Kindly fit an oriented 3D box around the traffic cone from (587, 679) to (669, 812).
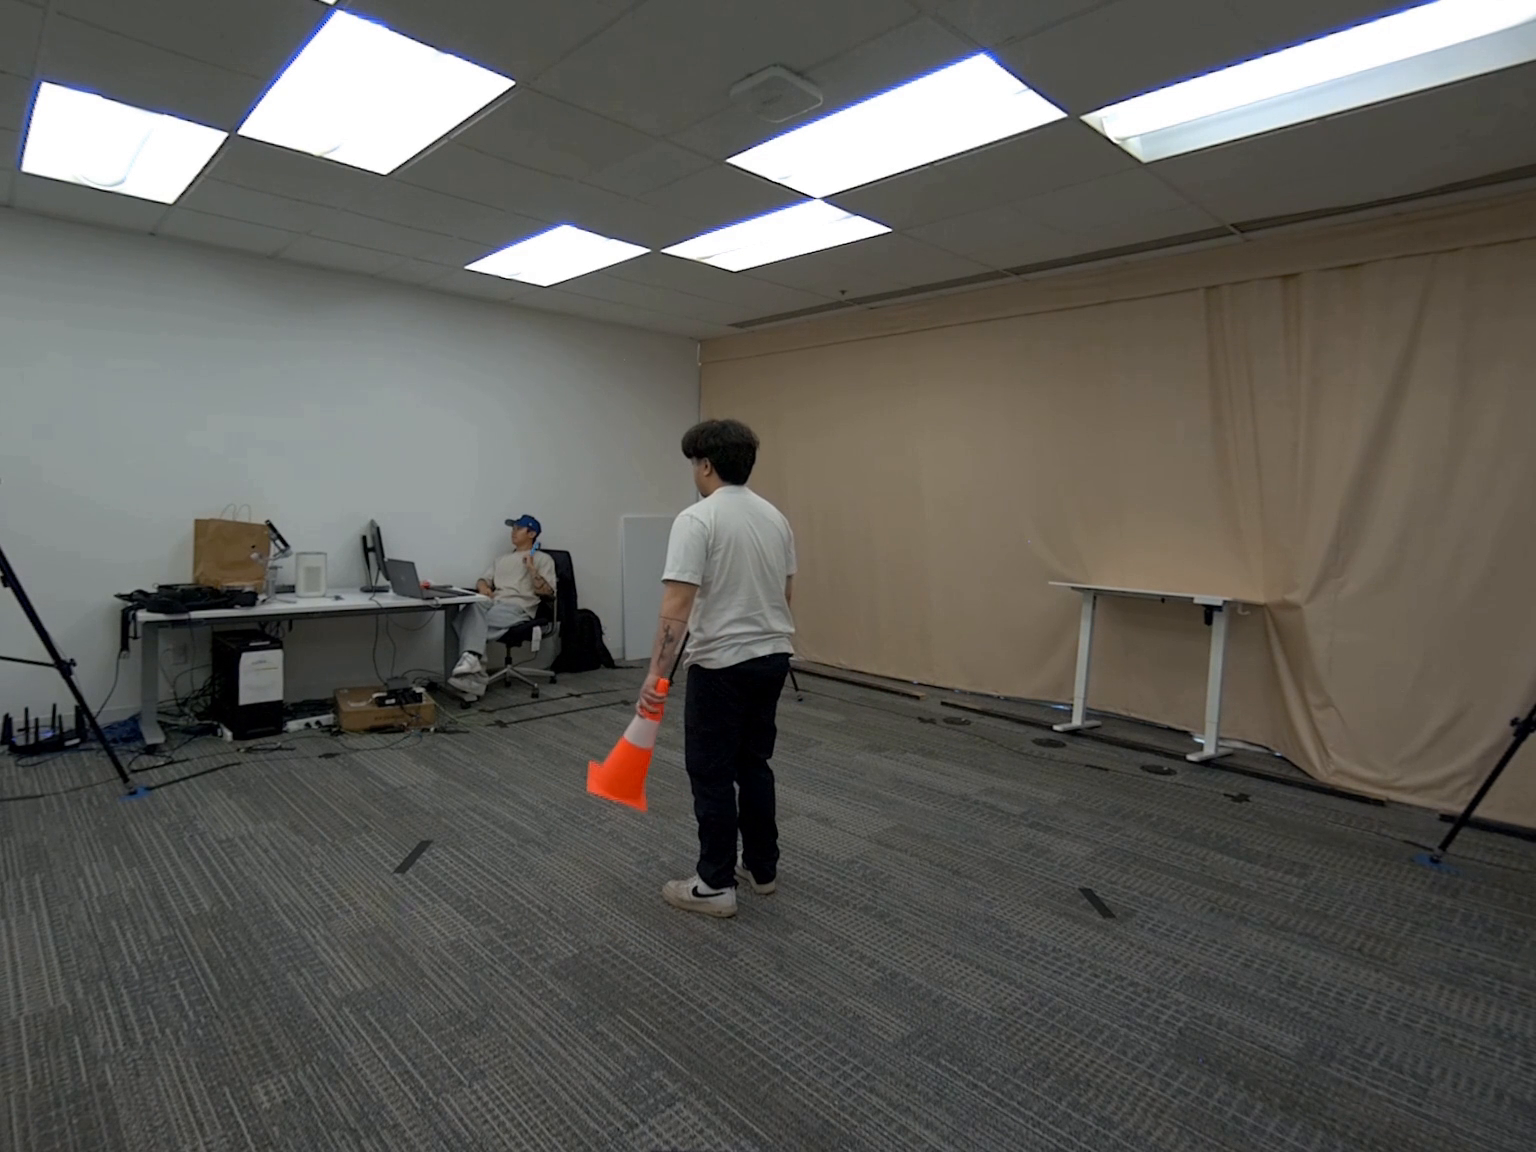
[{"bbox_3d":[-0.407,0.492,2.650,0.201,0.382,0.208,20,8,-22],"label":"traffic cone"}]
